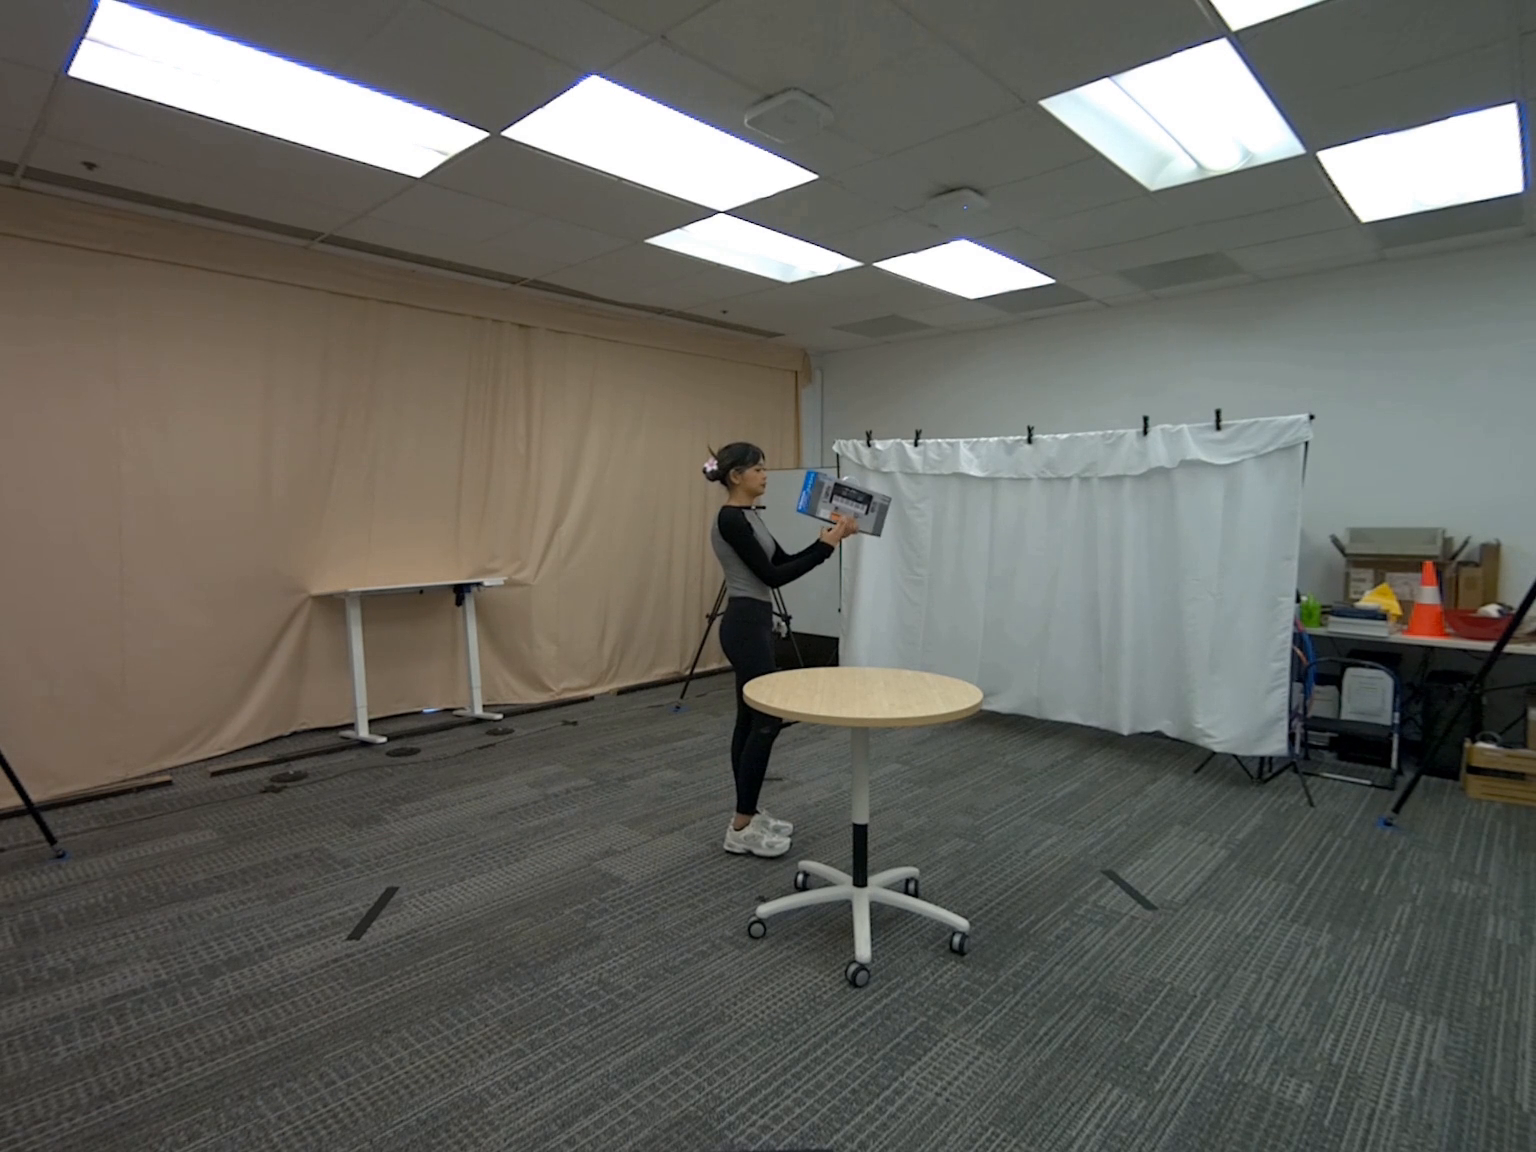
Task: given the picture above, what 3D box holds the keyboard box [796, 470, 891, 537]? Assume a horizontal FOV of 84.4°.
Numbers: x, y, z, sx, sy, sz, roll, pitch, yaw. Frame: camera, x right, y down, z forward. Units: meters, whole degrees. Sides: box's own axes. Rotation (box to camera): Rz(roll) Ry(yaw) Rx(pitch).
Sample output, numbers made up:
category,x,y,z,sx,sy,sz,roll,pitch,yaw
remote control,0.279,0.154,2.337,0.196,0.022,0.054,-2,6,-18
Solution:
category,x,y,z,sx,sy,sz,roll,pitch,yaw
keyboard box,0.315,-0.287,3.419,0.422,0.176,0.061,15,2,-37
